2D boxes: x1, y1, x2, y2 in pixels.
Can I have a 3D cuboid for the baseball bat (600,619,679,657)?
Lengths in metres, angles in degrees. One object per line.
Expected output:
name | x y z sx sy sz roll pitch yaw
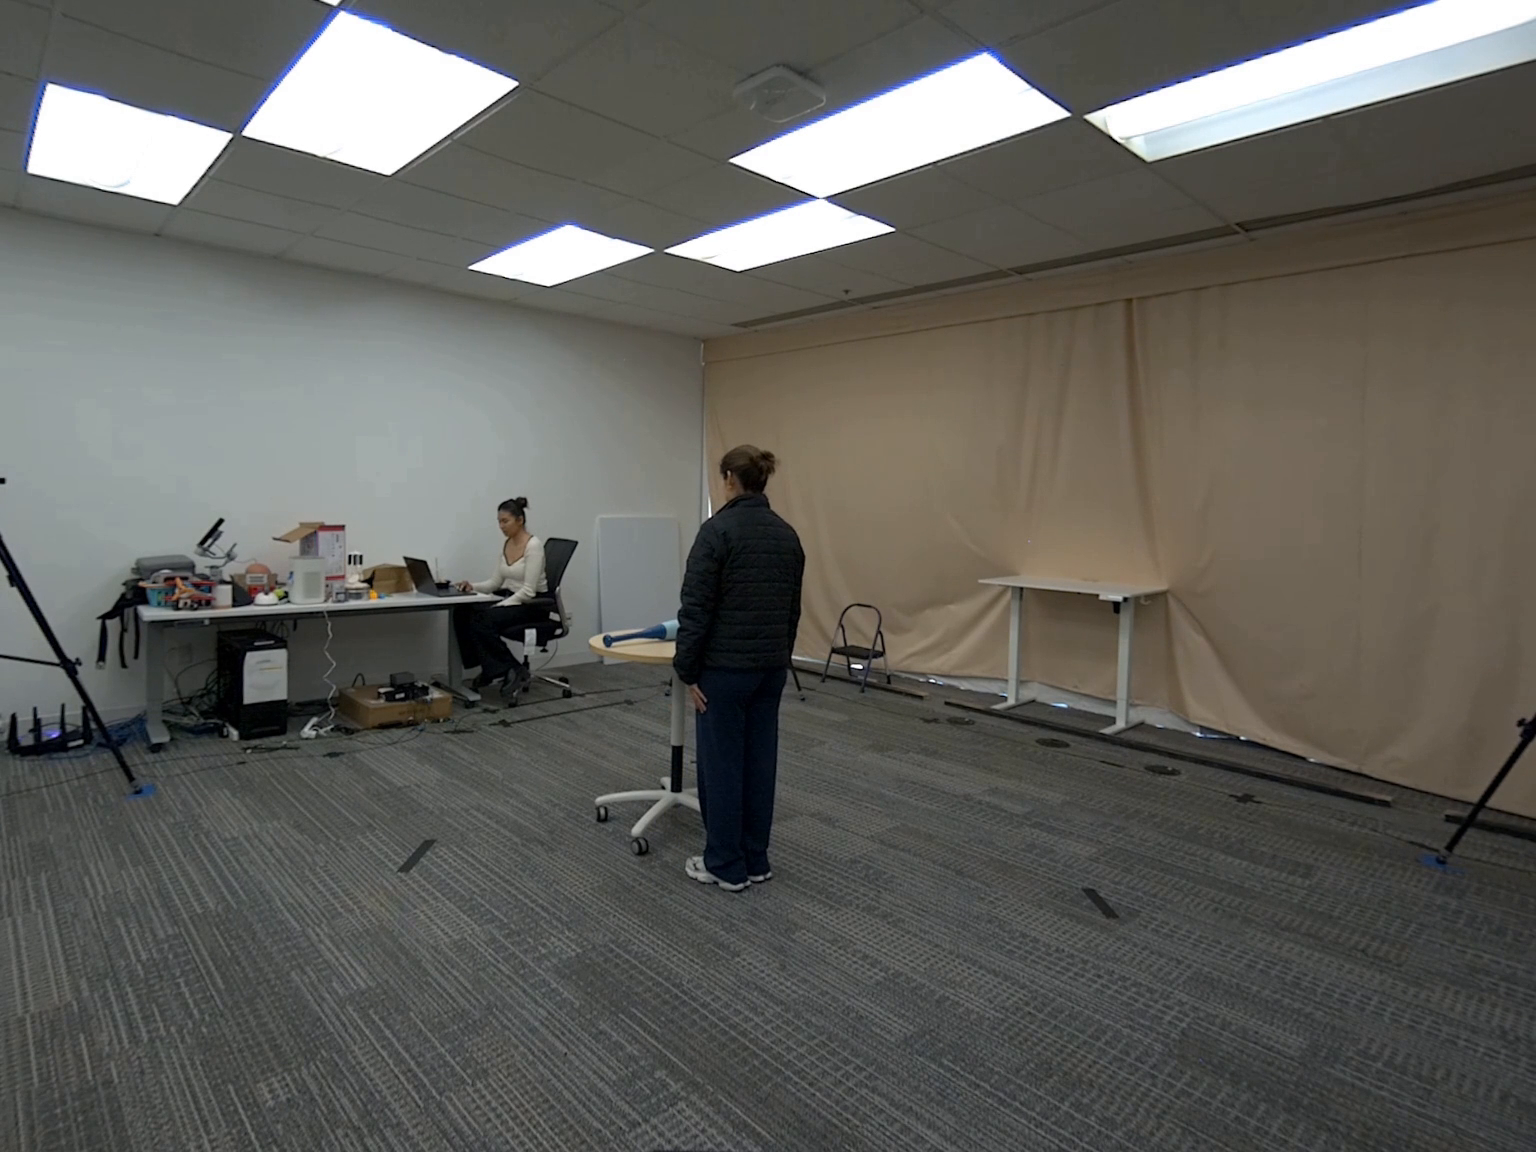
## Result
baseball bat | -0.455 0.244 3.519 0.091 0.089 0.531 5 8 42
